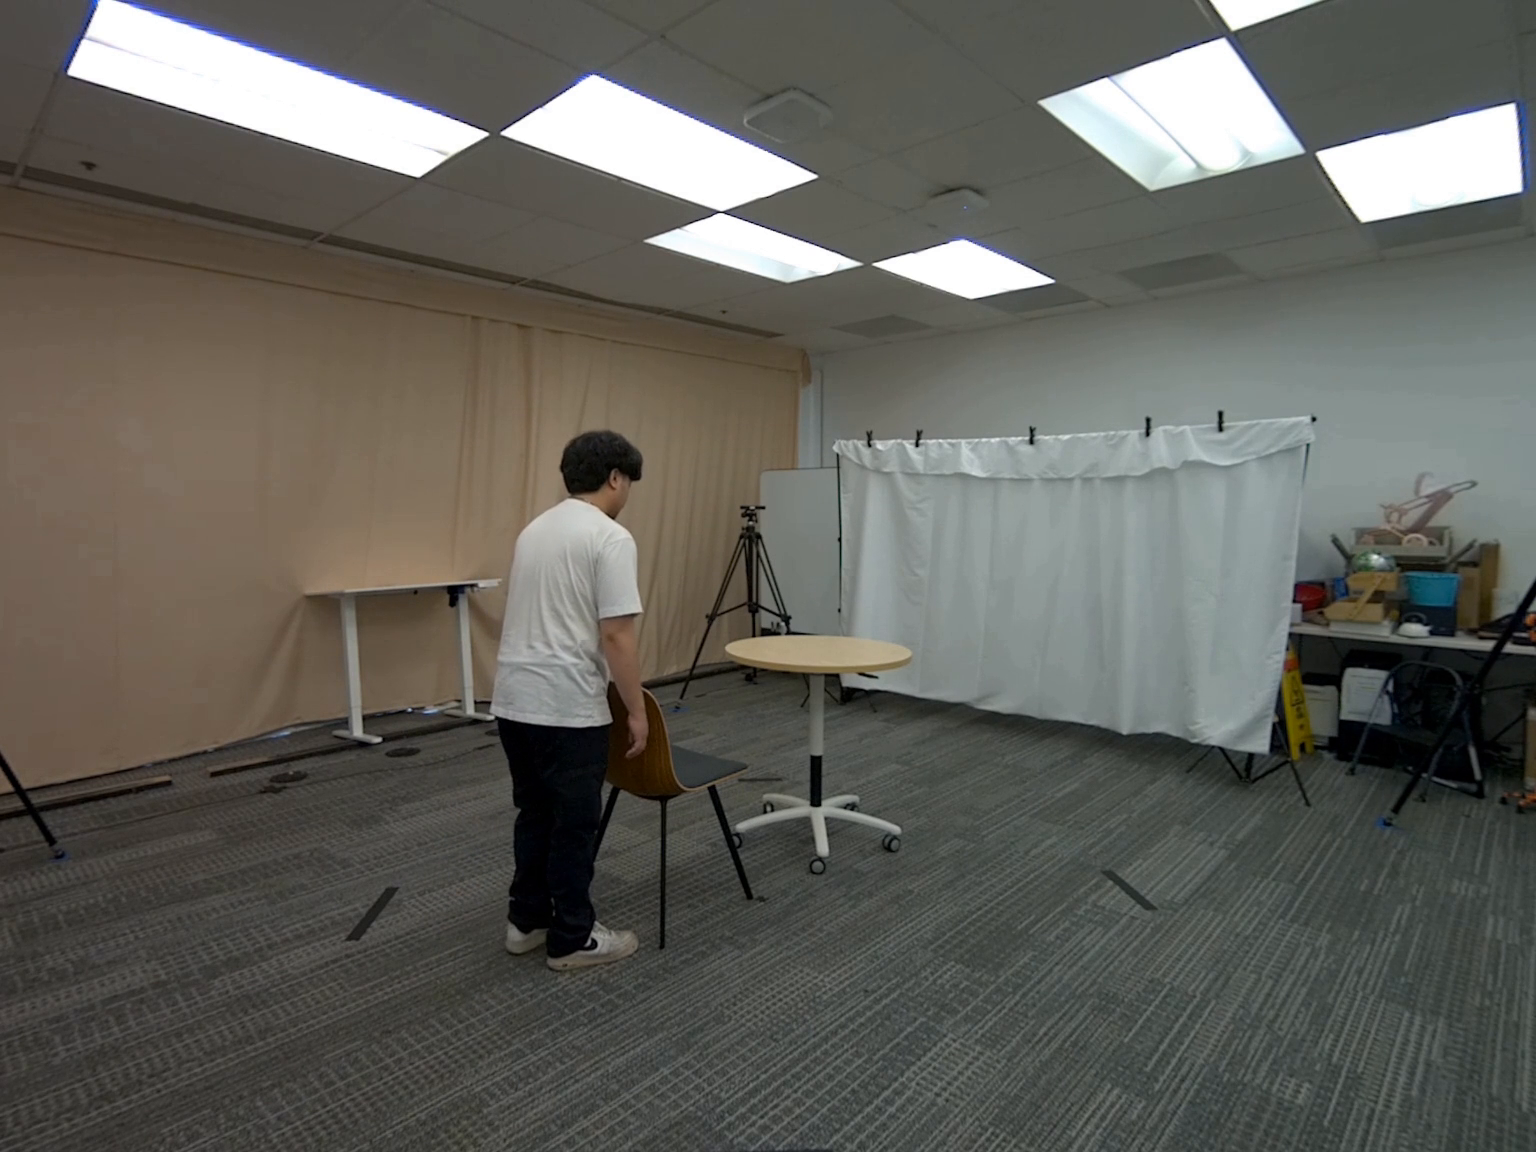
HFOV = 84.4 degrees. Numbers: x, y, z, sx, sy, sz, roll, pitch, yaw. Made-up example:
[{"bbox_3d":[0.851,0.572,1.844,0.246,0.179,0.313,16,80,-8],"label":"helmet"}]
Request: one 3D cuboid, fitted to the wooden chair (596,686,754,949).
[{"bbox_3d":[-0.361,0.722,2.940,0.494,0.874,0.508,2,8,41],"label":"wooden chair"}]
